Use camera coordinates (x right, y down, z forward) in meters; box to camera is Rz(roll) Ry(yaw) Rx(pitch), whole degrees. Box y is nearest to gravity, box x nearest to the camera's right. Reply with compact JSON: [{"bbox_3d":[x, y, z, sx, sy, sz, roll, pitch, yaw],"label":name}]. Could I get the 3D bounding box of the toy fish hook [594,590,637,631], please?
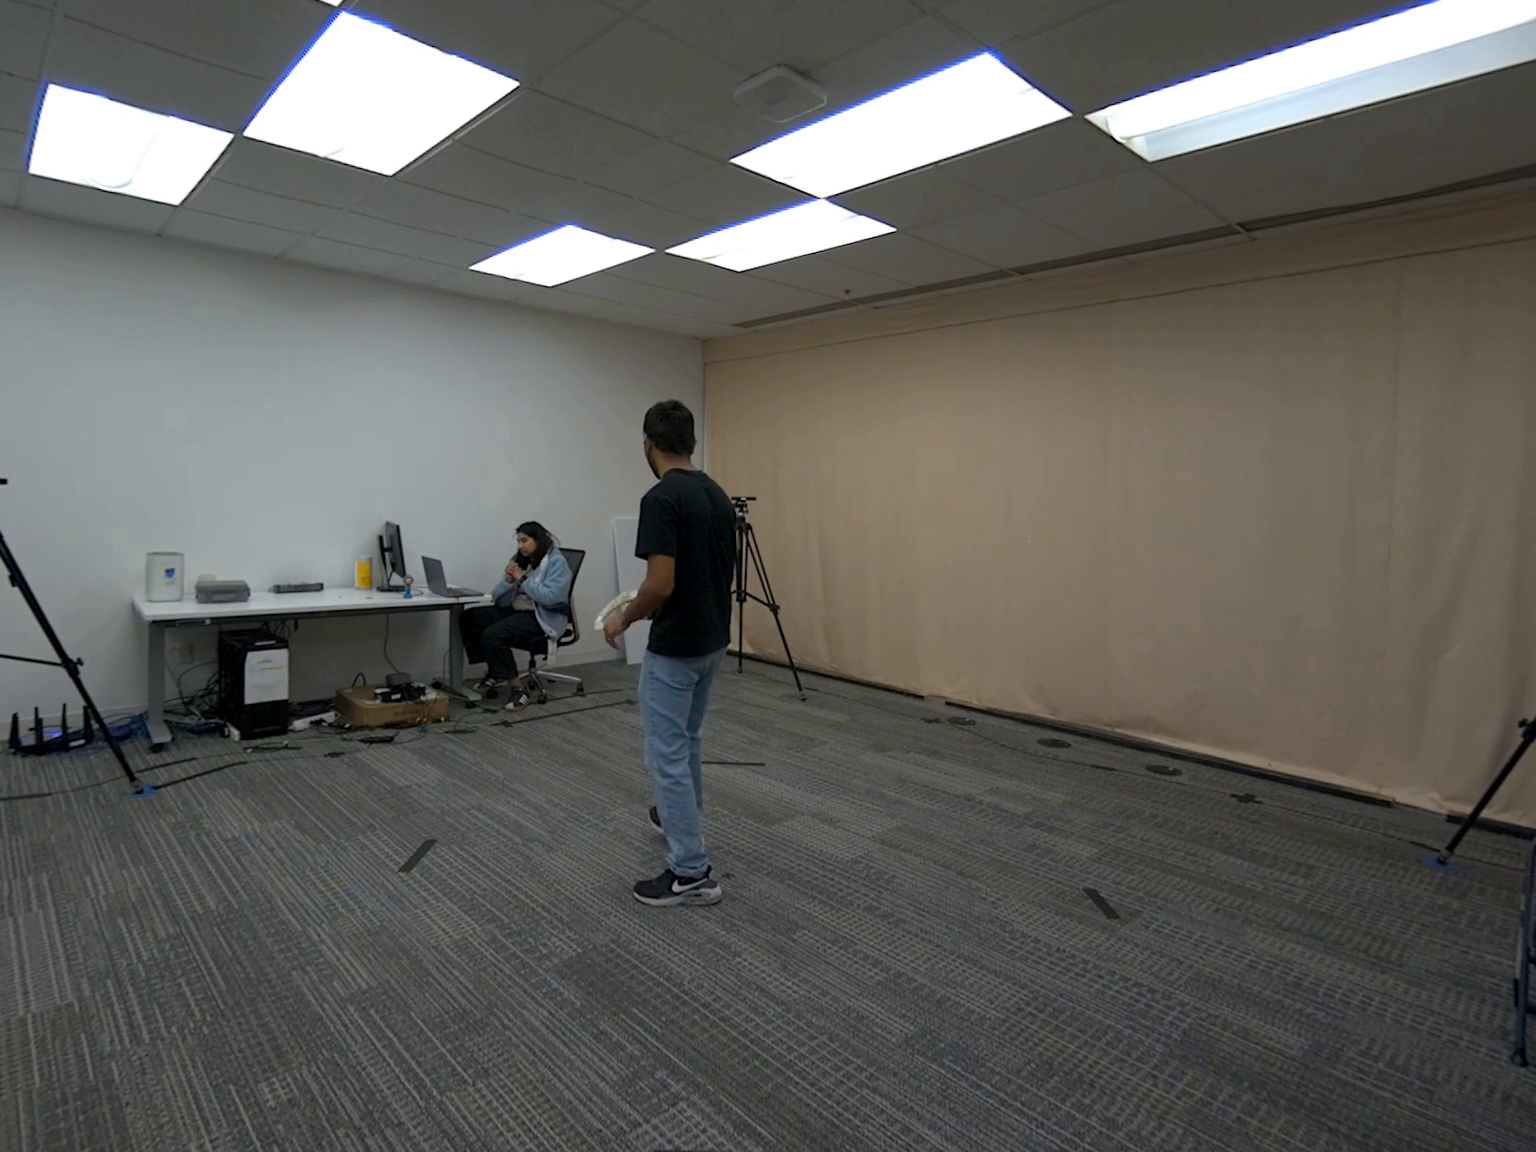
[{"bbox_3d":[-0.562,0.154,3.171,0.224,0.047,0.517,-46,21,-12],"label":"toy fish hook"}]
